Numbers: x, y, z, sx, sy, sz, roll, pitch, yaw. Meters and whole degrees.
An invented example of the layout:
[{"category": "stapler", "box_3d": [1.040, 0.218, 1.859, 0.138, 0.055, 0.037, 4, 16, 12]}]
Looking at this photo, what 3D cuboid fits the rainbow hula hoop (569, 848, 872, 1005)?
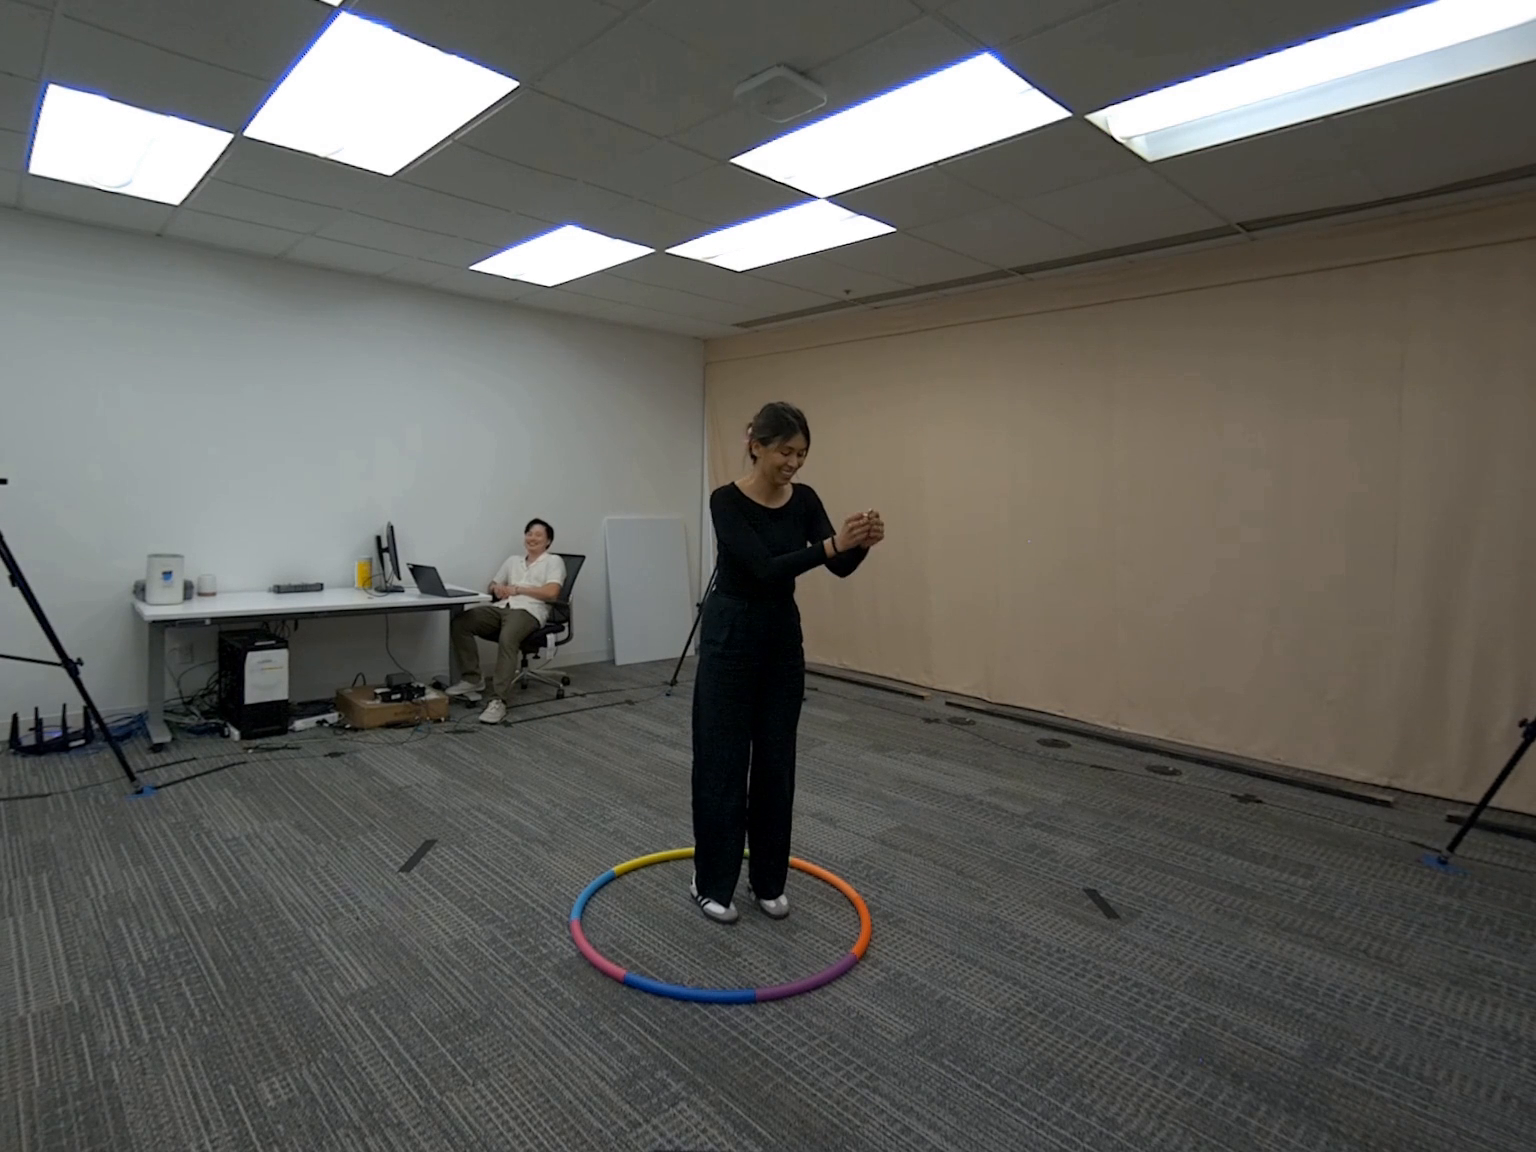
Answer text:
[{"category": "rainbow hula hoop", "box_3d": [-0.162, 1.107, 2.800, 0.978, 0.035, 0.982, 1, 5, -1]}]
